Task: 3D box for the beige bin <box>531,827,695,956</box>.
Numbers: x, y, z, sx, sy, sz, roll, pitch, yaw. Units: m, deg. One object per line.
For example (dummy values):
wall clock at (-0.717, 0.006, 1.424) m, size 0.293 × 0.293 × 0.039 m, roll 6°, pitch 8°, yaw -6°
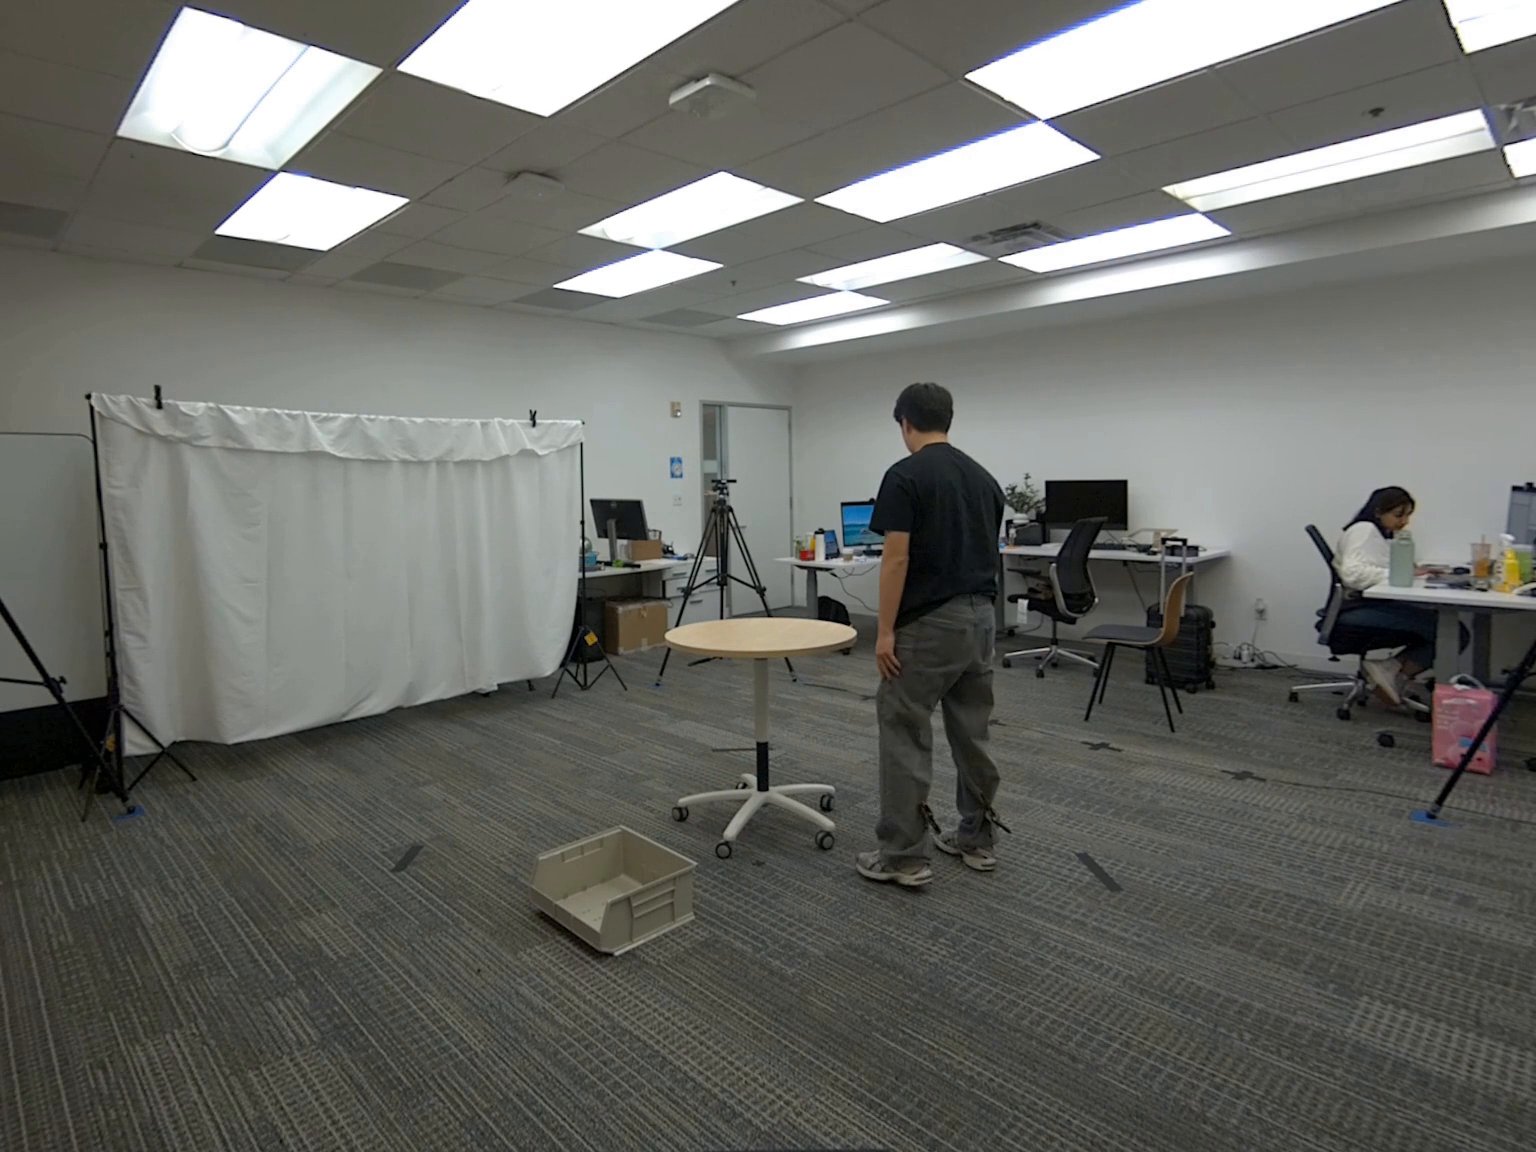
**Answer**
beige bin at (-0.501, 1.010, 2.755) m, size 0.367 × 0.188 × 0.435 m, roll -6°, pitch 8°, yaw -44°
